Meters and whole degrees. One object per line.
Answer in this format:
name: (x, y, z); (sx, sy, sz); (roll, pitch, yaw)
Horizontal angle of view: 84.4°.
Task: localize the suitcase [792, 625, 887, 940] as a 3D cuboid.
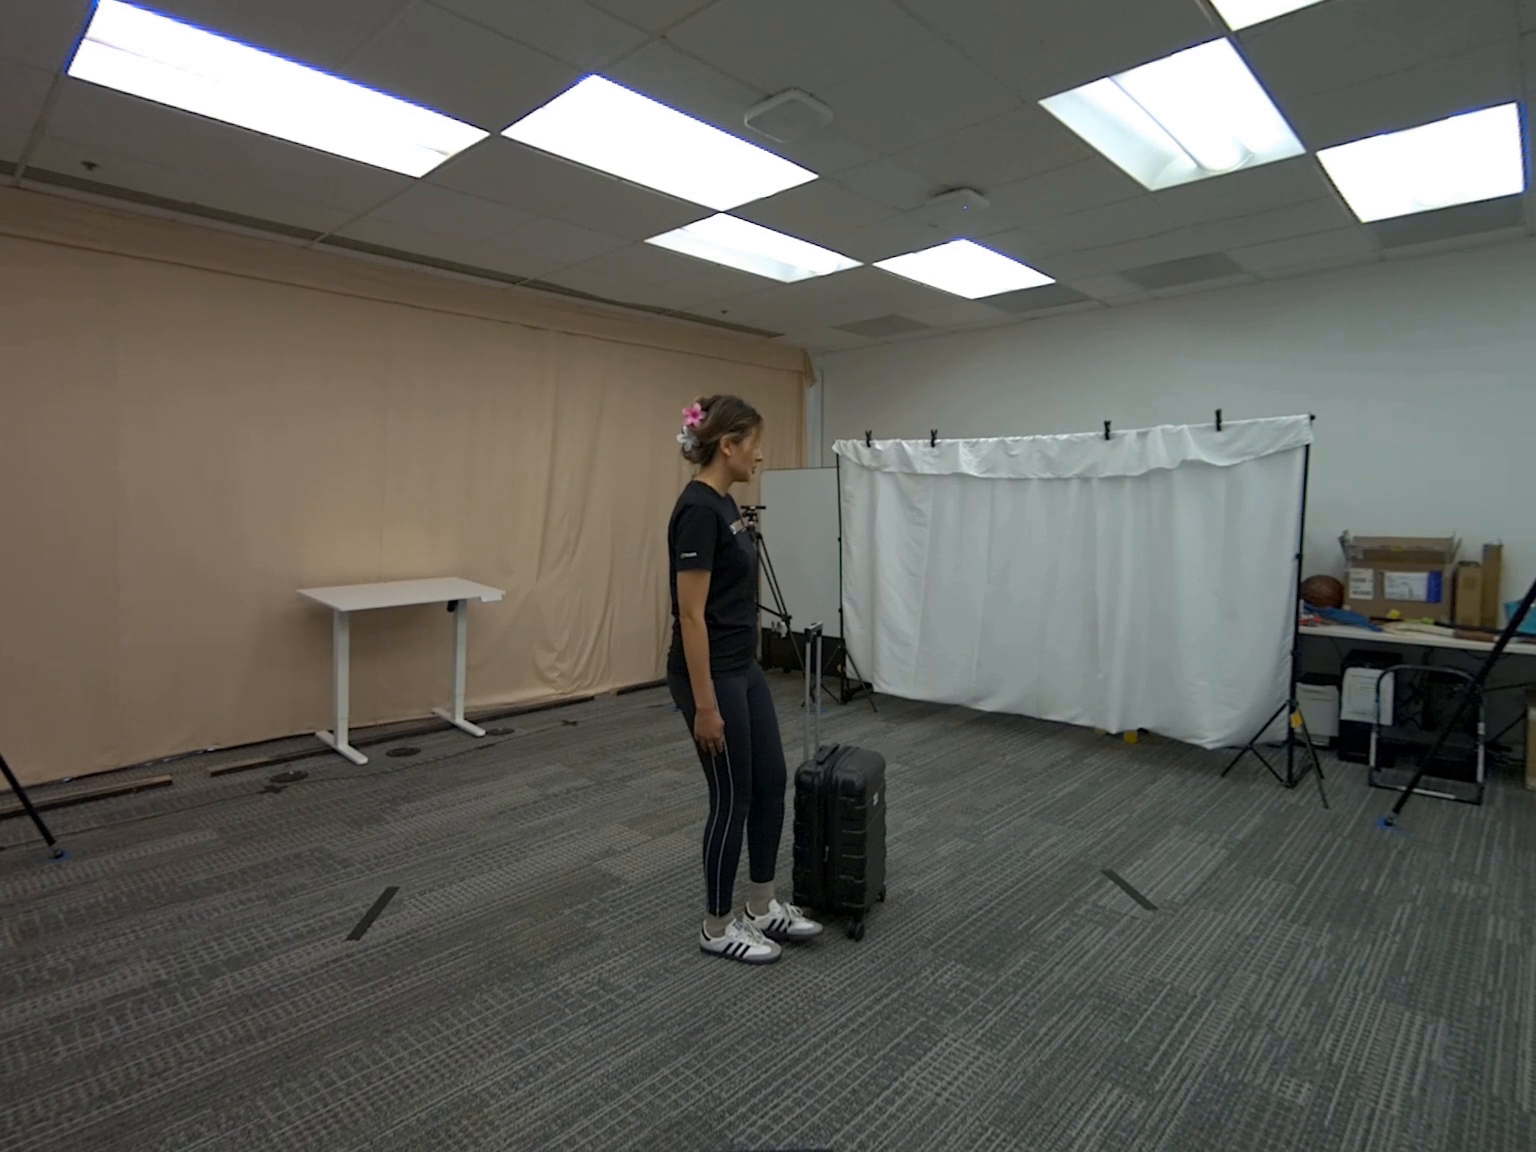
suitcase: (0.264, 0.676, 2.877); (0.263, 0.977, 0.376); (3, 3, 20)
